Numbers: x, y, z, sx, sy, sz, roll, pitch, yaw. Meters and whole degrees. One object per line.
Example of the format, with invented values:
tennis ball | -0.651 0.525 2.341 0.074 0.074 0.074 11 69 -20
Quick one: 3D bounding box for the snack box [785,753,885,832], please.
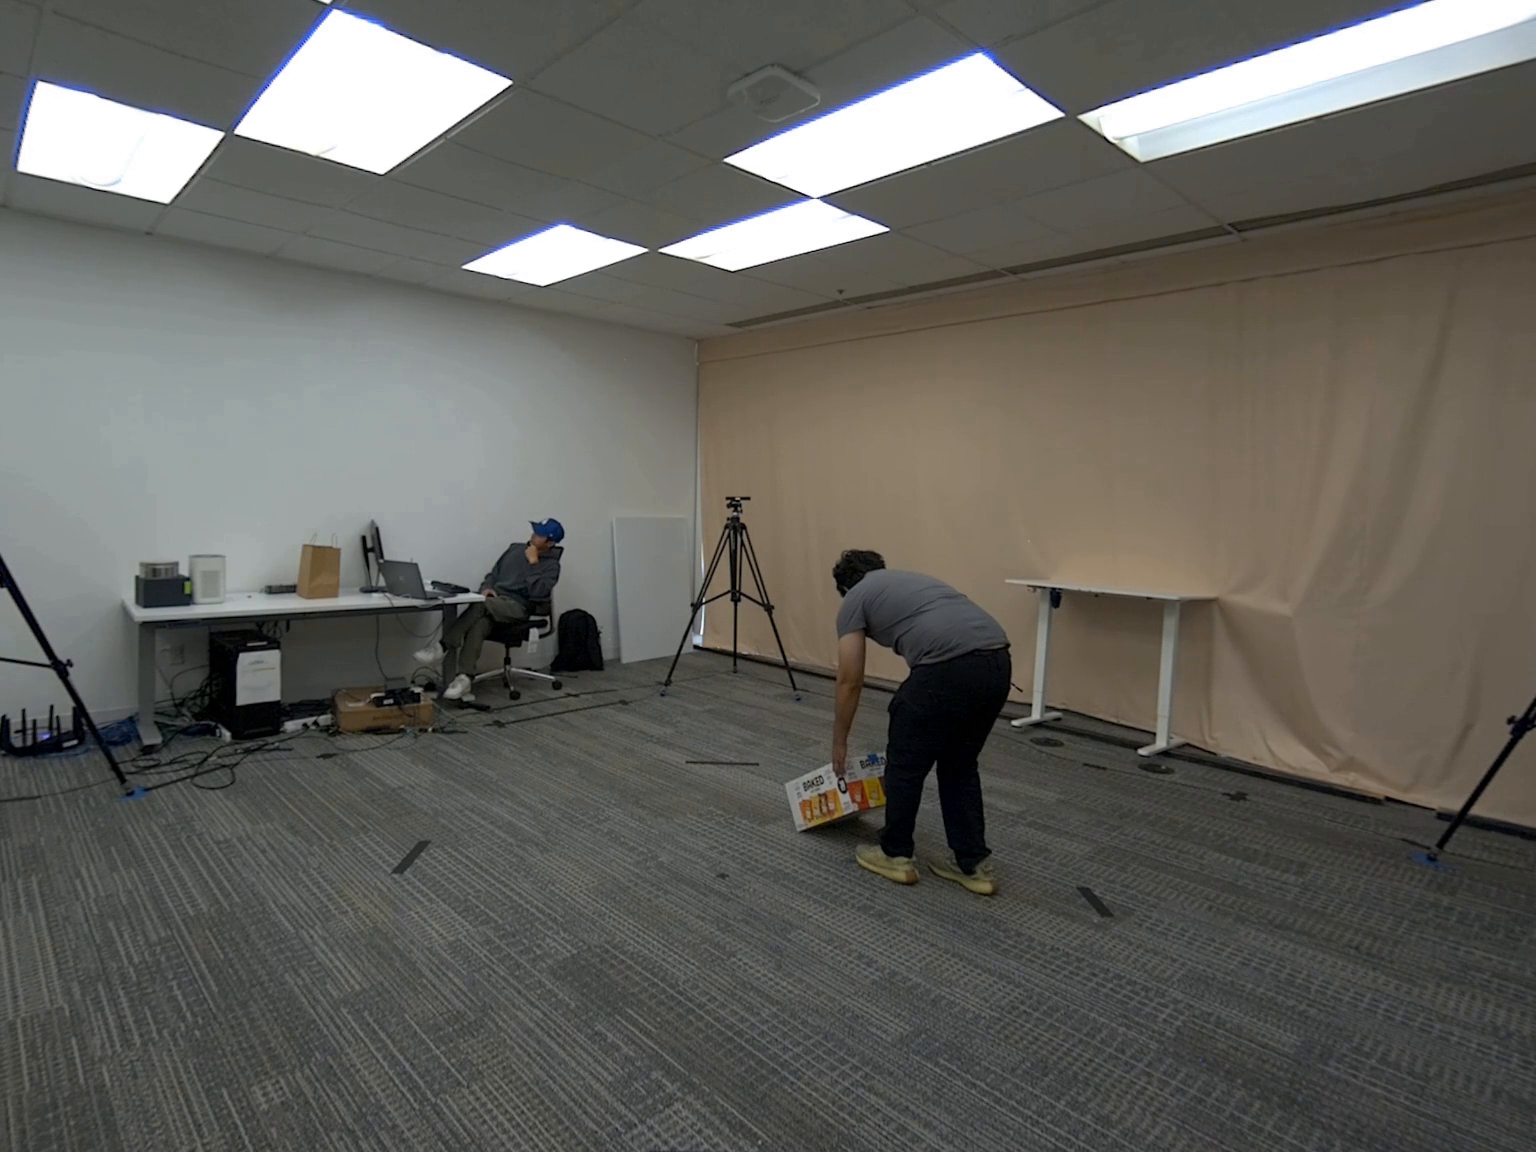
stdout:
snack box | 0.334 0.896 3.509 0.333 0.210 0.406 0 -26 -33
